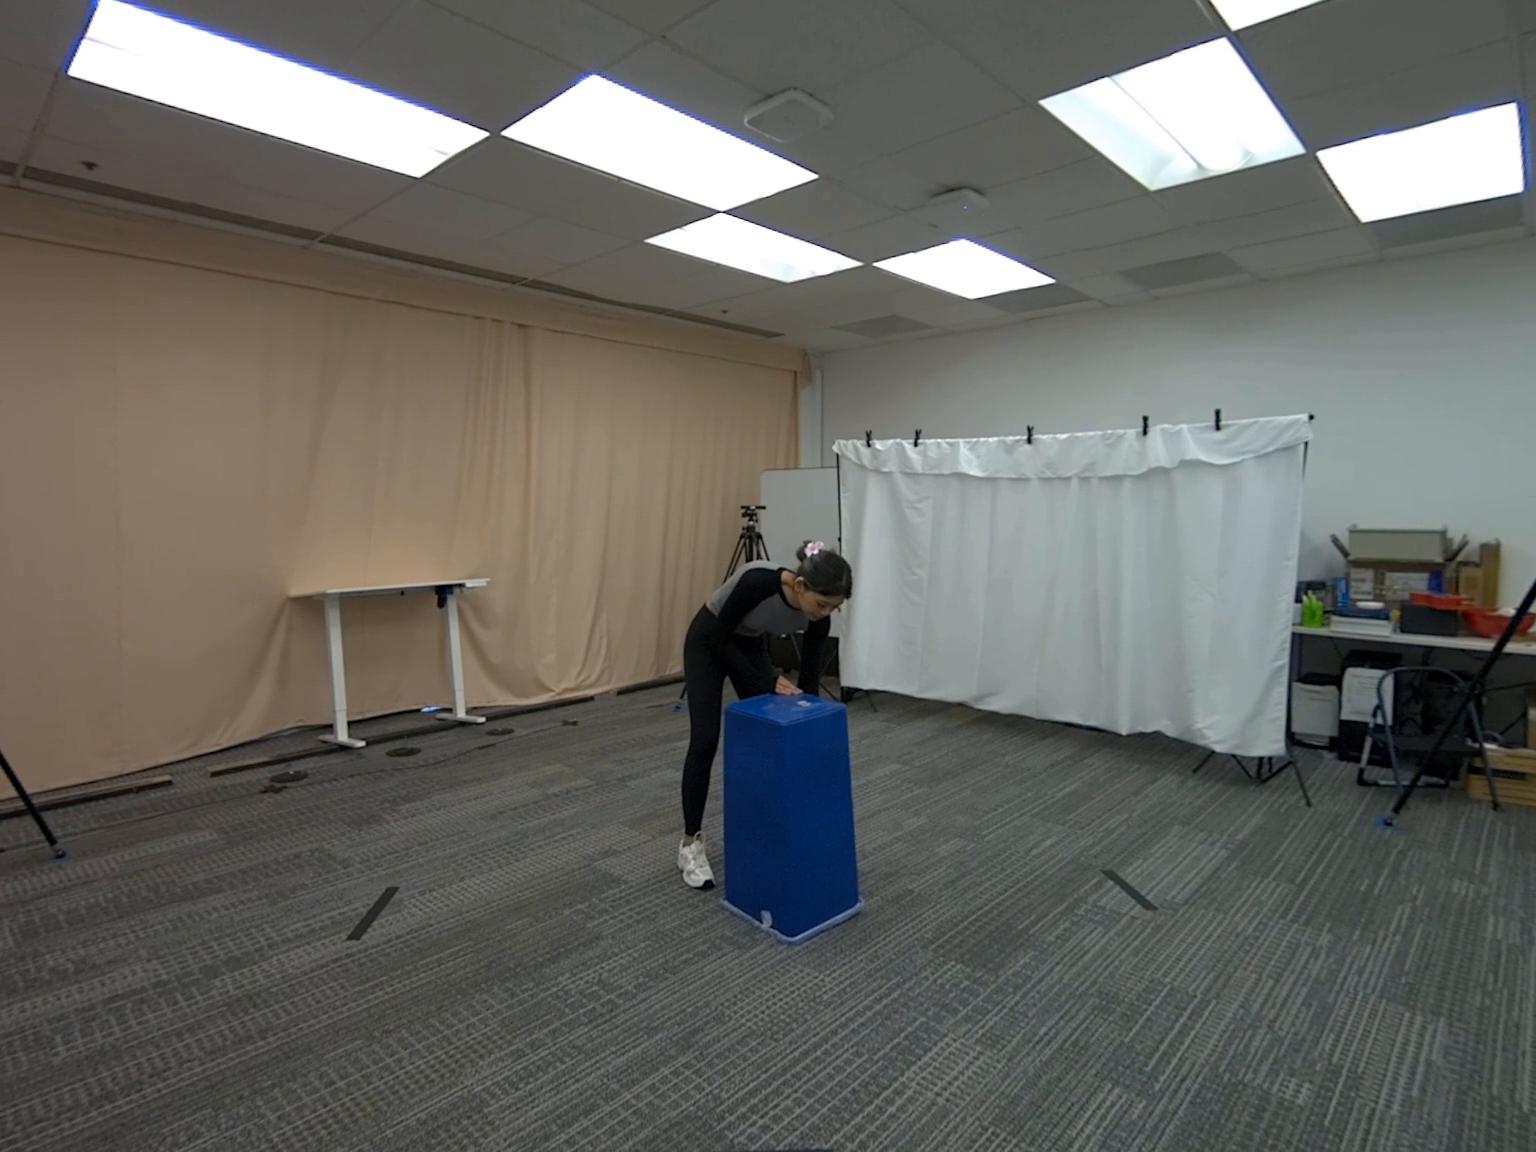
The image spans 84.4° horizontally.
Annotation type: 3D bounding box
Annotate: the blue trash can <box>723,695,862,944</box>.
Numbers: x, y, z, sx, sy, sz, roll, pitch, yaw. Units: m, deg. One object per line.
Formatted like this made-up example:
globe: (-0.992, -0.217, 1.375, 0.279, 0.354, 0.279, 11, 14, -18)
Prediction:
blue trash can: (0.080, 0.794, 2.875, 0.363, 0.711, 0.390, -5, 6, -40)
